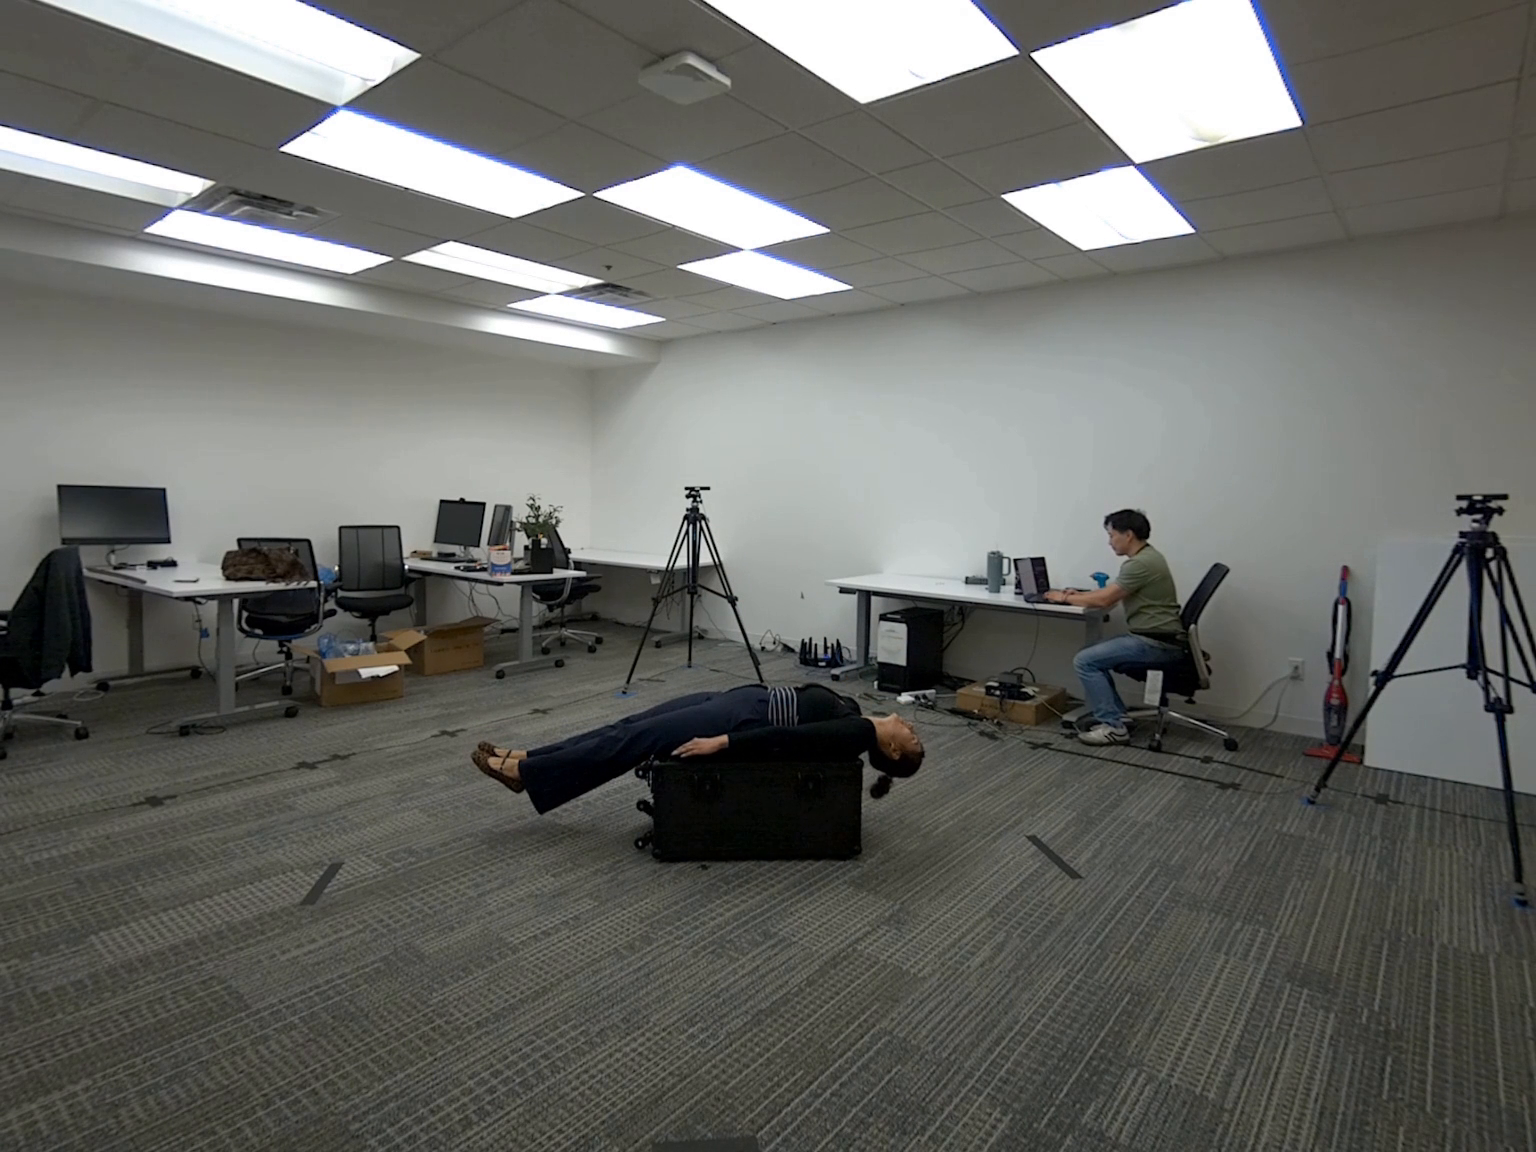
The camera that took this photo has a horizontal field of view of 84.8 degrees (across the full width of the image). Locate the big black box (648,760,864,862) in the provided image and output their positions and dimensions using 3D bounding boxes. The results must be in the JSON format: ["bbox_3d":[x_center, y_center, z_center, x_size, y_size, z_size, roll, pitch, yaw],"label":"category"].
[{"bbox_3d":[-0.111,0.844,3.391,0.857,0.395,0.526,1,5,-5],"label":"big black box"}]
